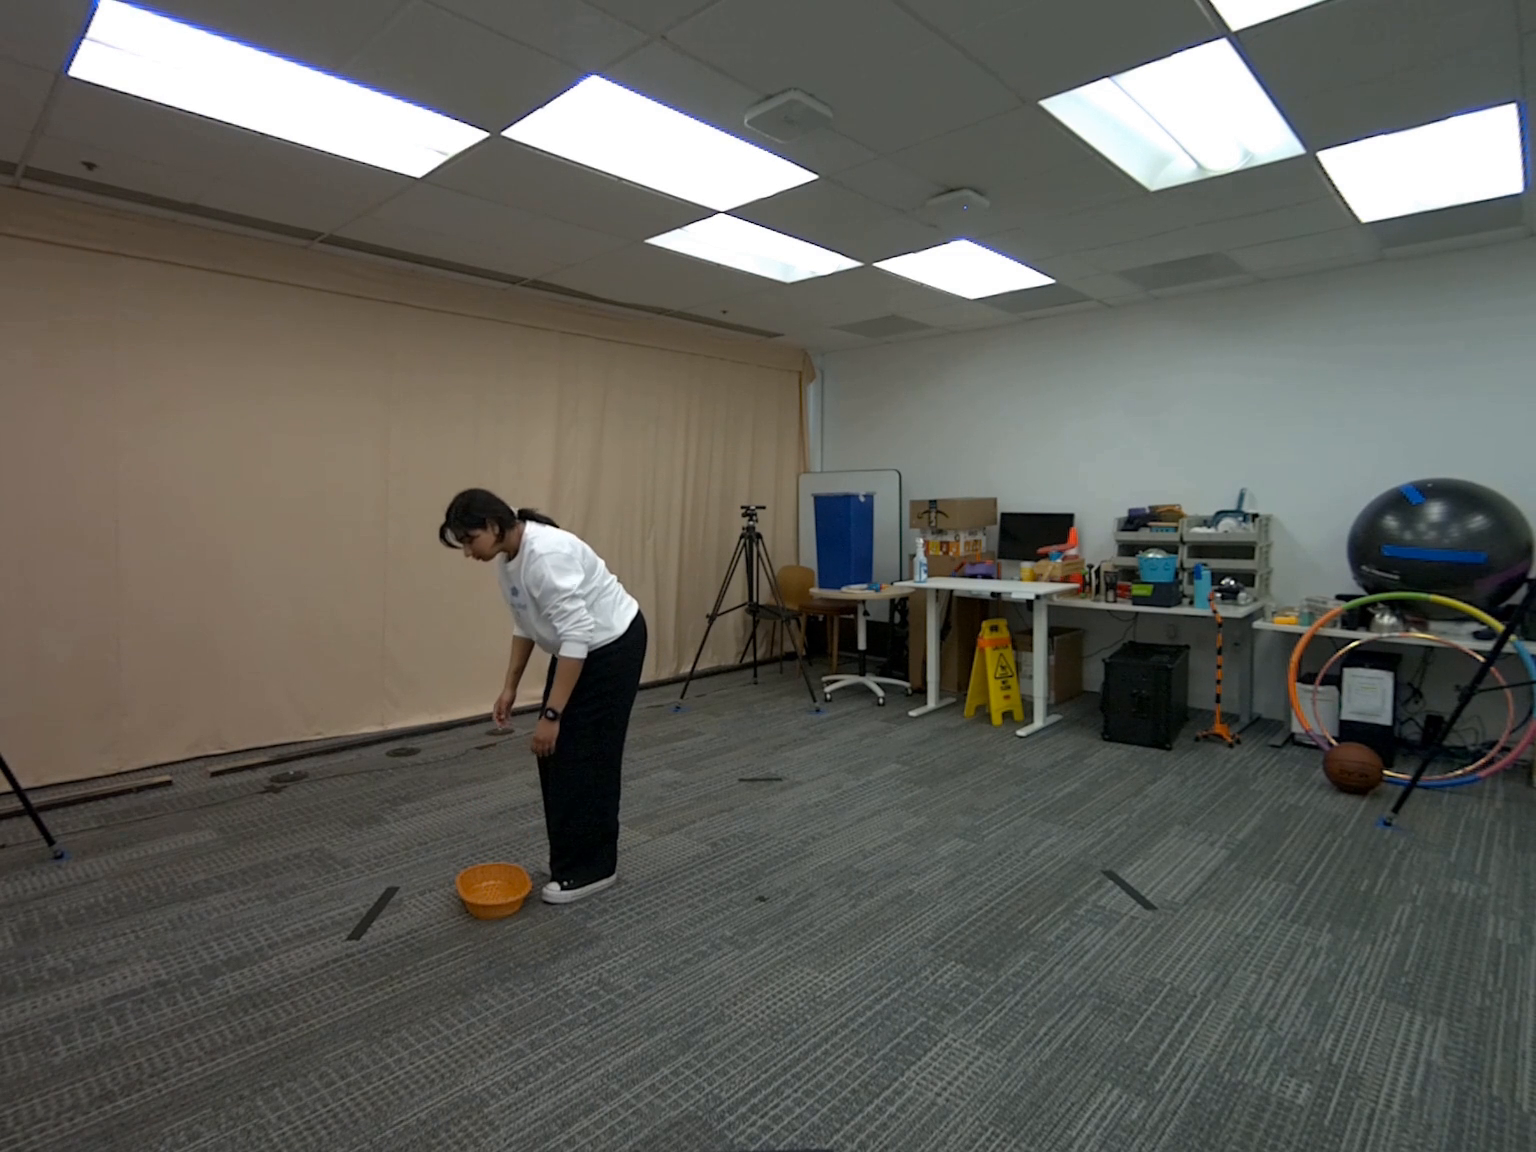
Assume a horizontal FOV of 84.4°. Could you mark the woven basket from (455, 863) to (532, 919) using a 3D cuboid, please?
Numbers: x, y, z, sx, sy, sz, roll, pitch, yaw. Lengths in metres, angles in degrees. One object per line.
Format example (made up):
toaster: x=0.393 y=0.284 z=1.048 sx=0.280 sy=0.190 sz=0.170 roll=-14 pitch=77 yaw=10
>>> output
woven basket: x=-0.969 y=1.115 z=2.983 sx=0.246 sy=0.073 sz=0.360 roll=-1 pitch=3 yaw=-27
